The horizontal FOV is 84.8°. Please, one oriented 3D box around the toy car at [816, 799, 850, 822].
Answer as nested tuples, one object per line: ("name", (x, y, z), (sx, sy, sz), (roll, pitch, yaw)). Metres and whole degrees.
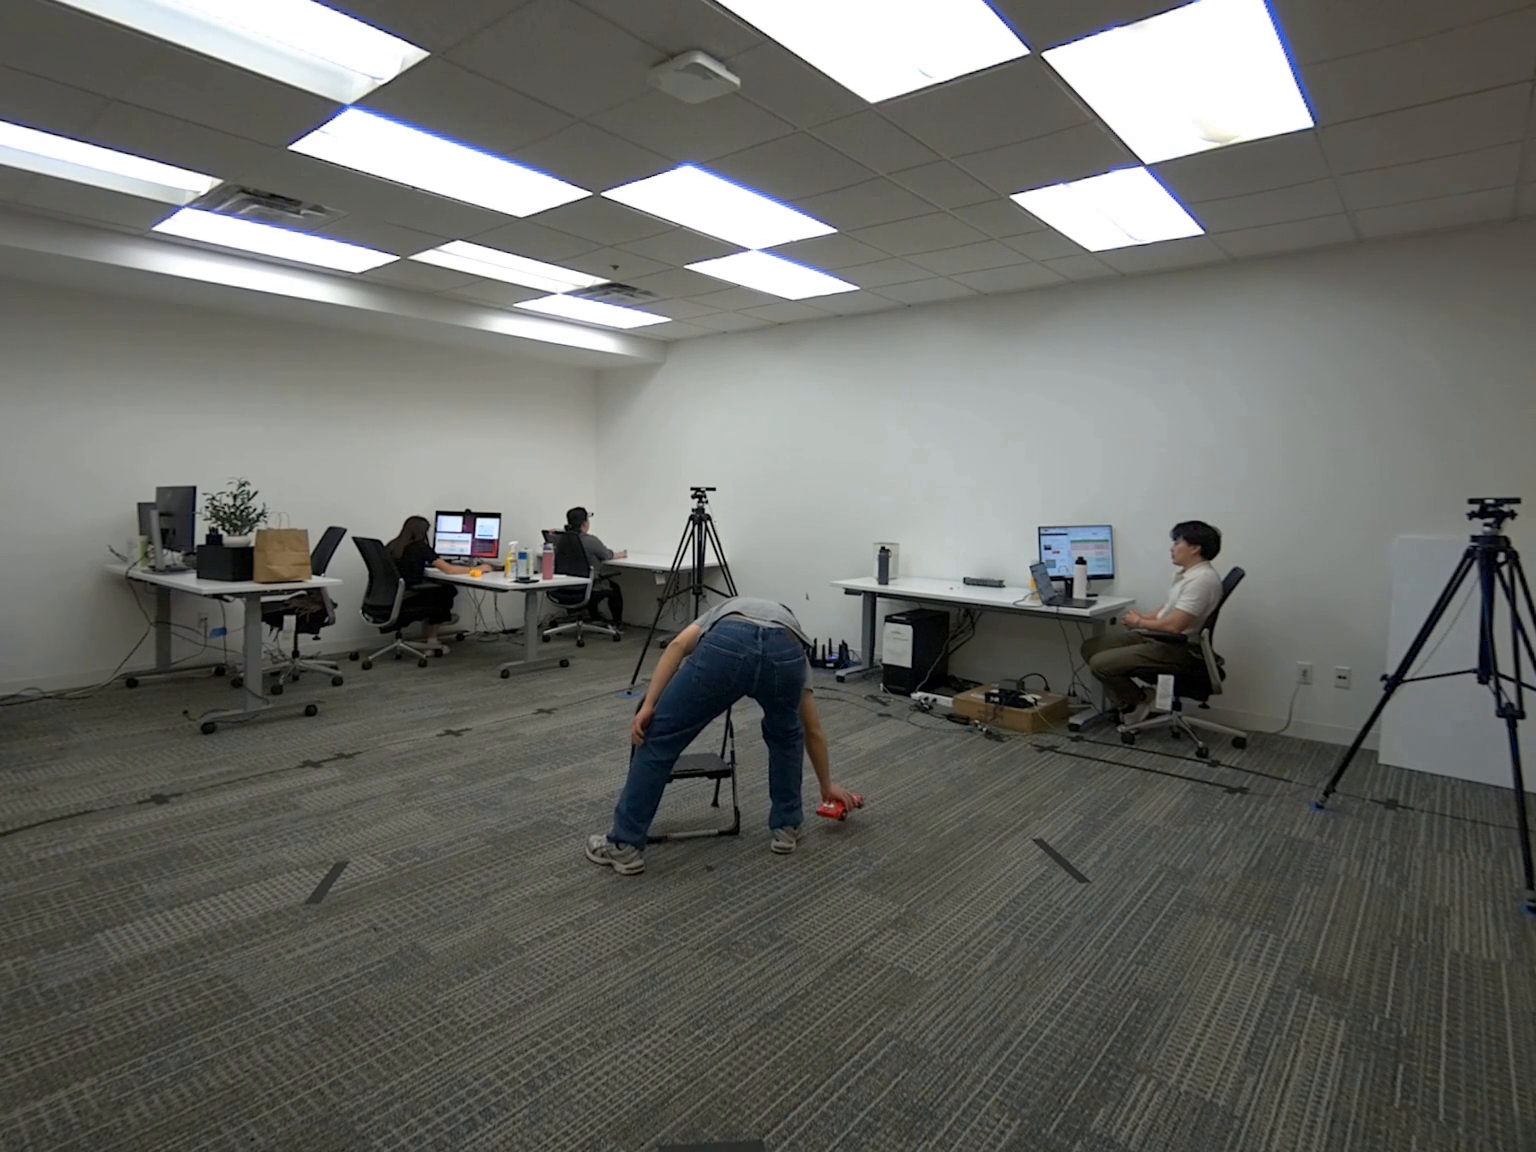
("toy car", (0.258, 0.968, 3.524), (0.134, 0.083, 0.246), (1, -4, 33))
